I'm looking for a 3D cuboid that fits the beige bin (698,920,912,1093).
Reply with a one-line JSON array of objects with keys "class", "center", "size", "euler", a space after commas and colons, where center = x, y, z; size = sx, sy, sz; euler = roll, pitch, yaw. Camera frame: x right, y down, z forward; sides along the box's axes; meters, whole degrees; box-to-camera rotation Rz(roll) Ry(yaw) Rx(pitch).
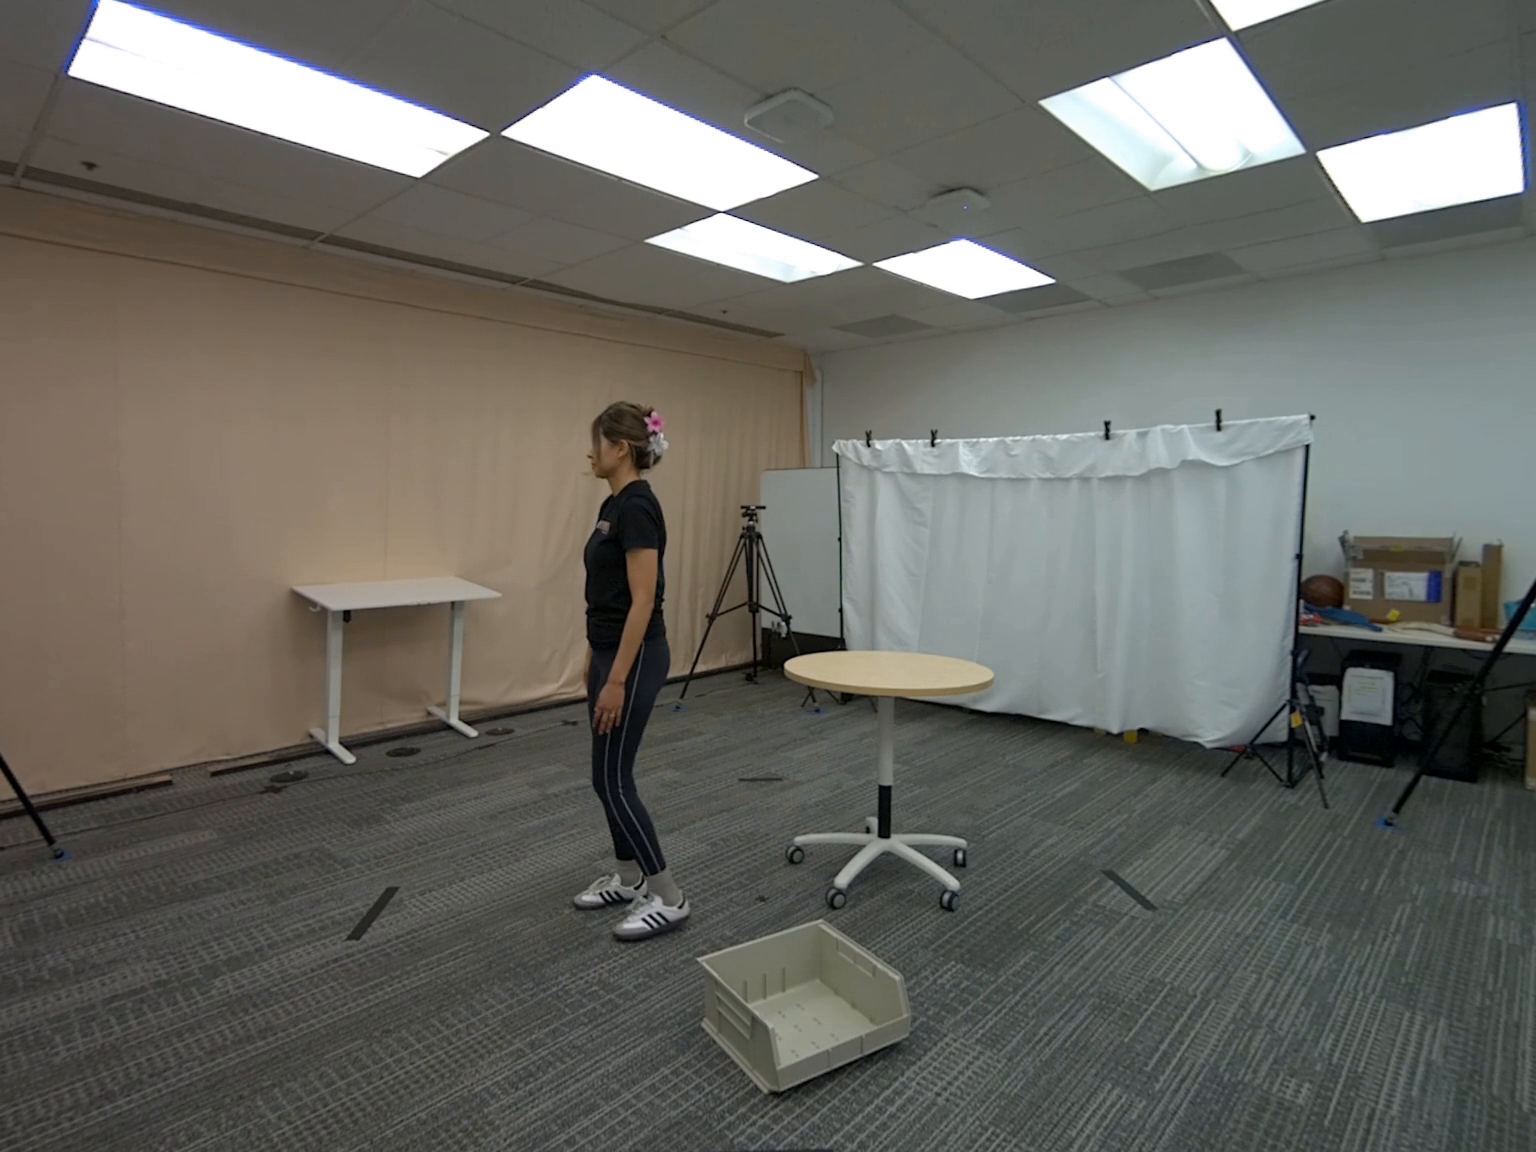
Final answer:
[{"class": "beige bin", "center": [0.093, 1.122, 2.202], "size": [0.411, 0.188, 0.389], "euler": [-3, 5, -32]}]
